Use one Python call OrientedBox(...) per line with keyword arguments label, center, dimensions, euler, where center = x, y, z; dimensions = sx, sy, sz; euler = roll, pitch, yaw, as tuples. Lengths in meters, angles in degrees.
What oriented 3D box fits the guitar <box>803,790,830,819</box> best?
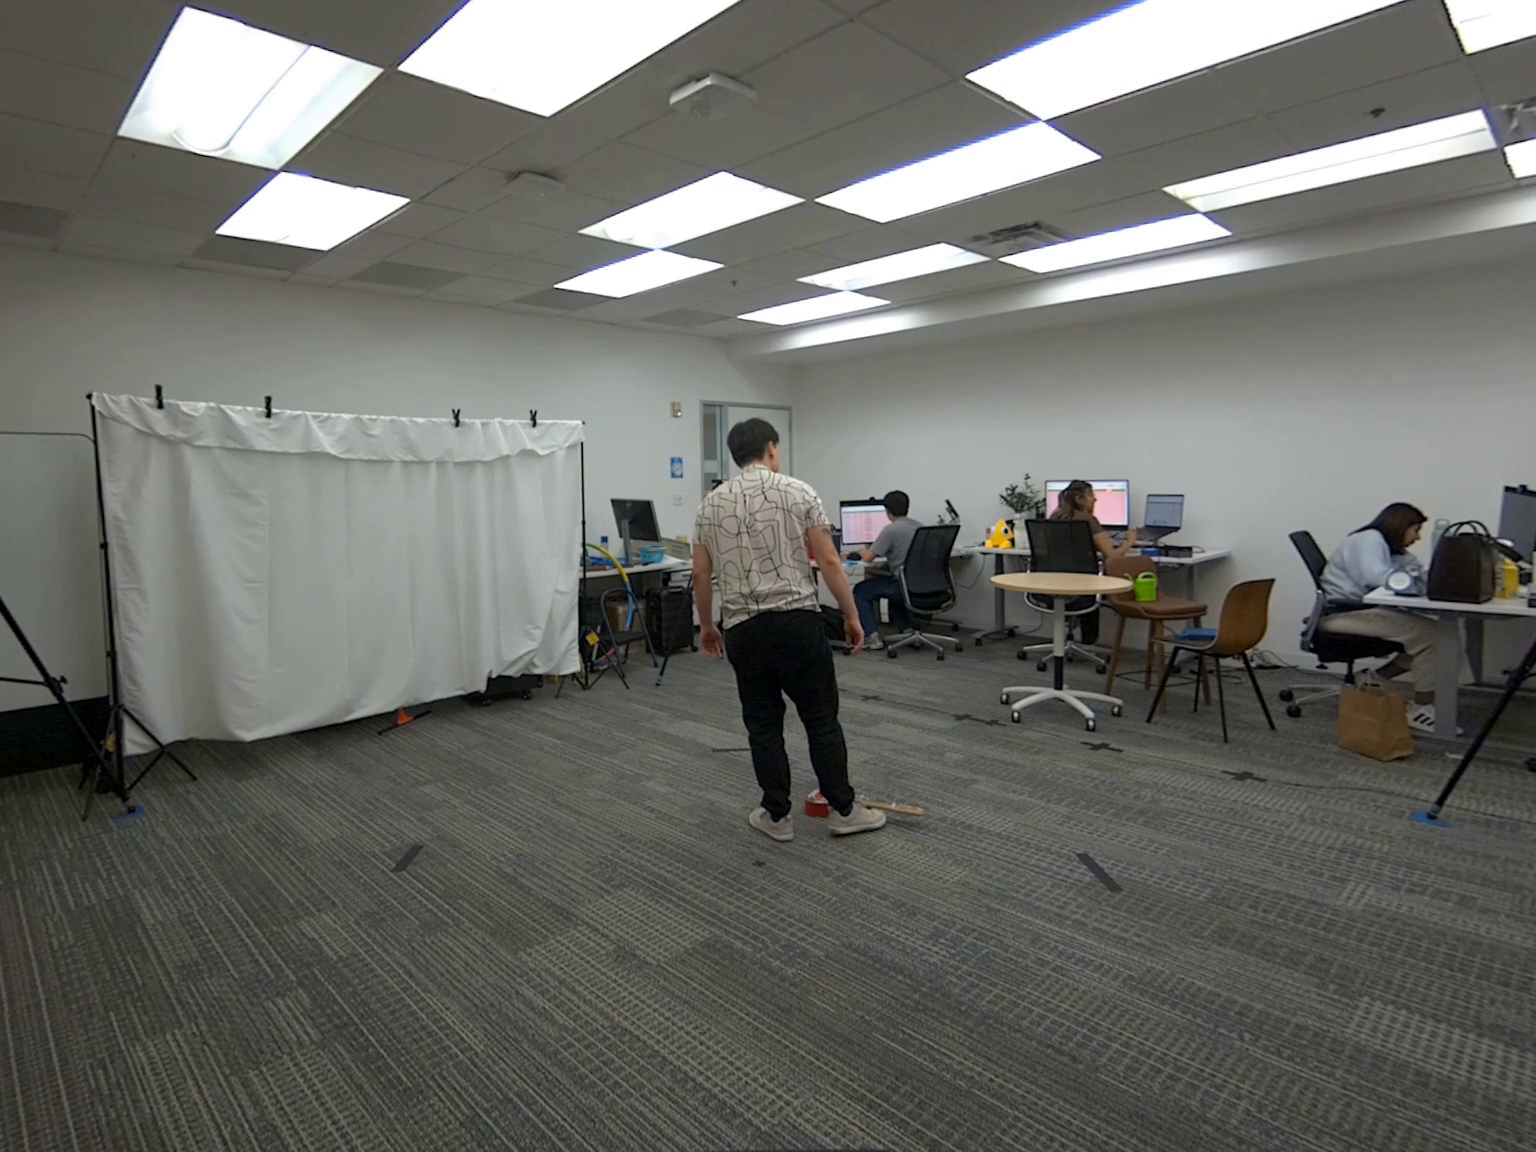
OrientedBox(label="guitar", center=(0.391, 0.961, 3.506), dimensions=(0.512, 0.070, 0.188), euler=(3, 7, 36))
